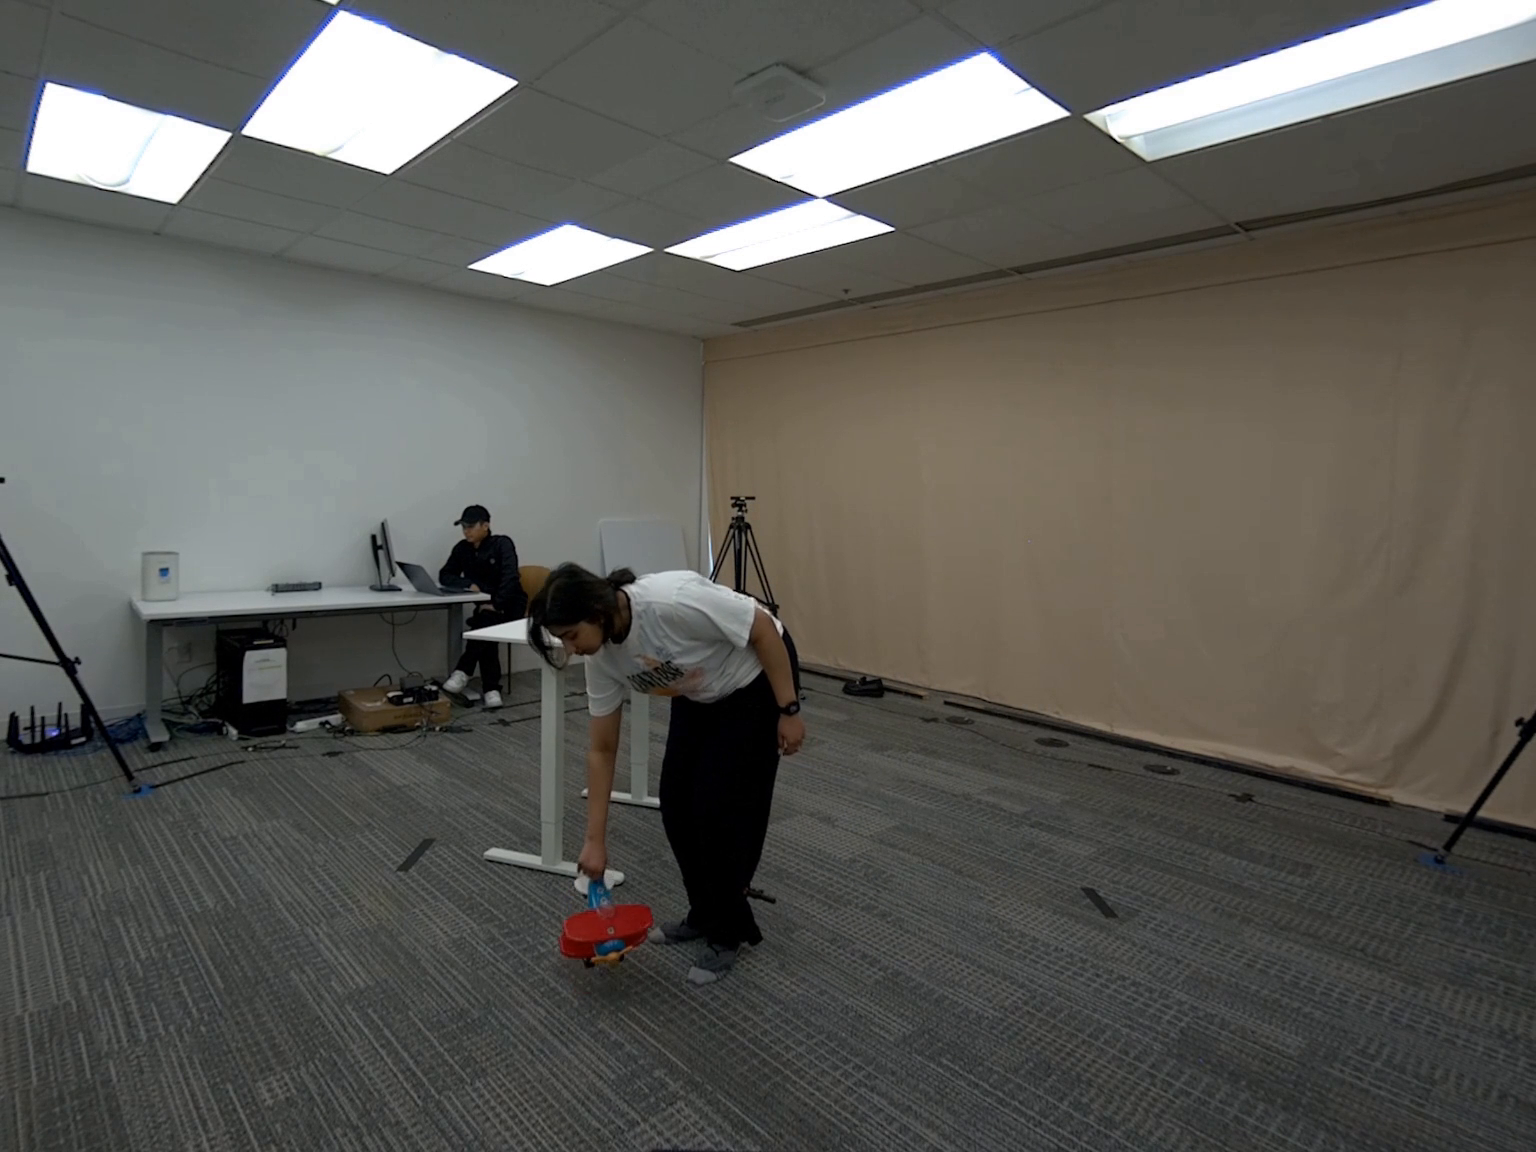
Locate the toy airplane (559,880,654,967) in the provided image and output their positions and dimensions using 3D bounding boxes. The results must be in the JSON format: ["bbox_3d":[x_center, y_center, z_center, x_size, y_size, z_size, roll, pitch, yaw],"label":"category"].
[{"bbox_3d":[-0.495,0.984,2.393,0.248,0.264,0.155,-29,-21,-39],"label":"toy airplane"}]
